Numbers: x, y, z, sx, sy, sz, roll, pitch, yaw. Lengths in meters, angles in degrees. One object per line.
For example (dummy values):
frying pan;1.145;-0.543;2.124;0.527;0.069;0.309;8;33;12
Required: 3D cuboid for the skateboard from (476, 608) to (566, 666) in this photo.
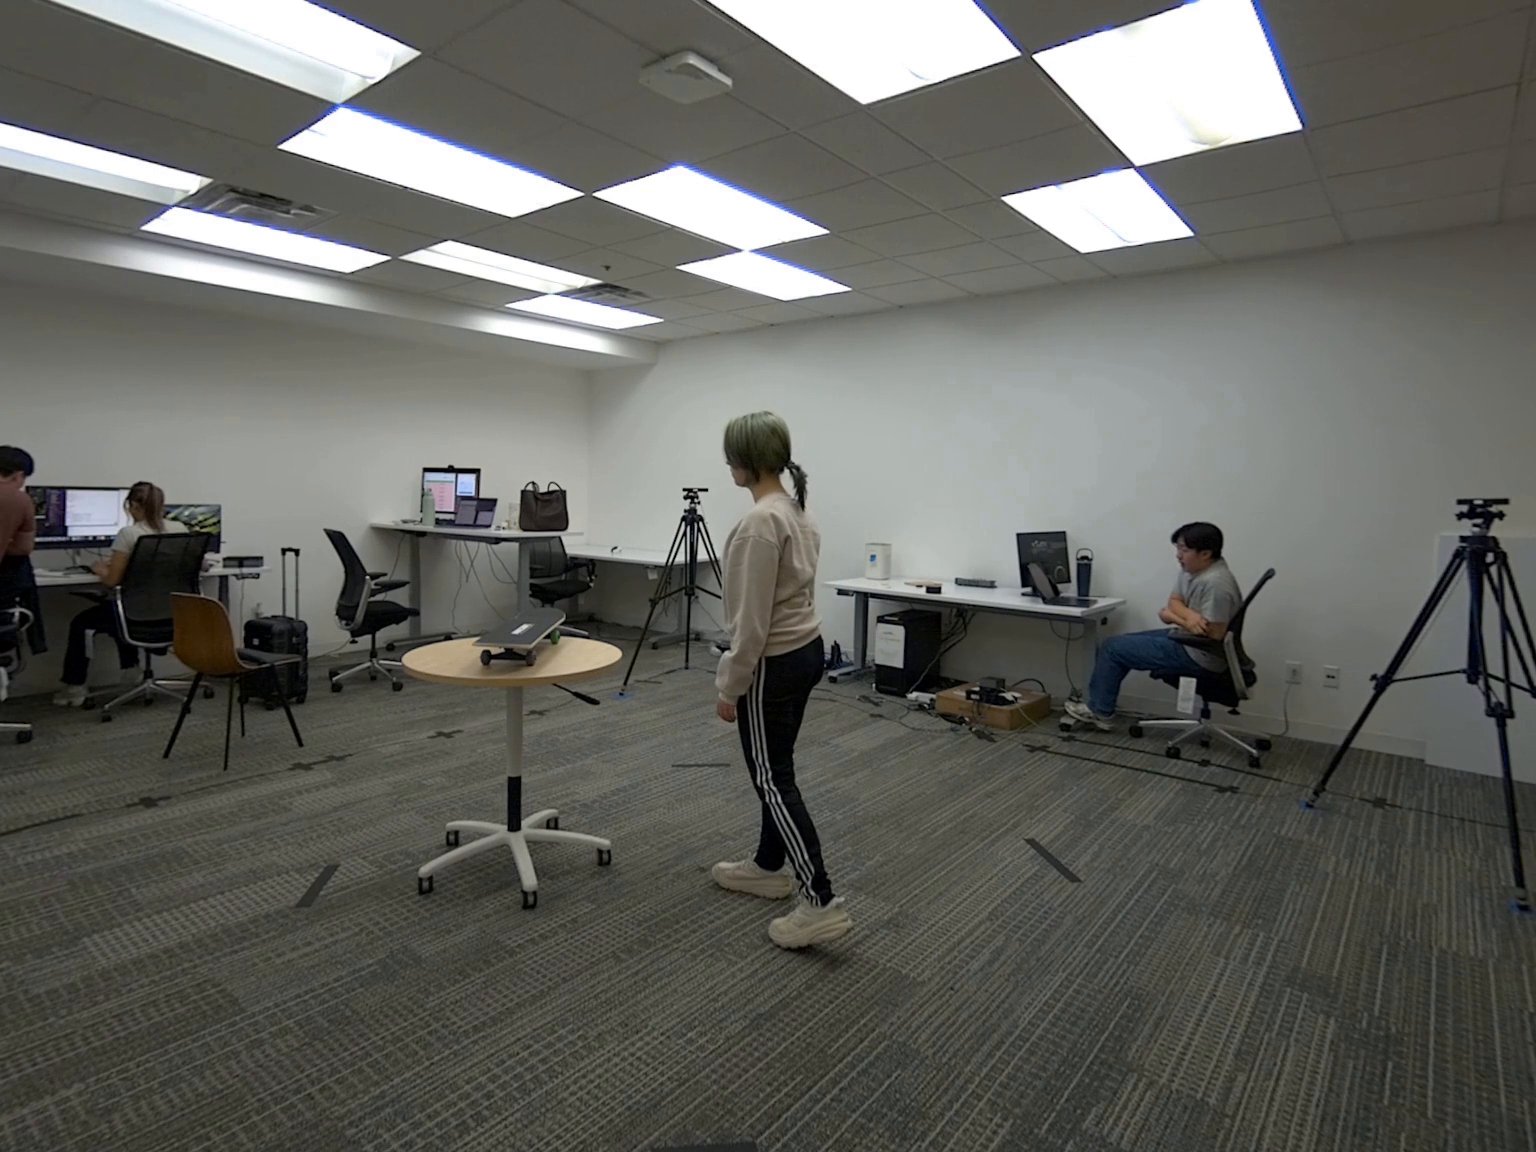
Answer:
skateboard;-0.904;0.232;3.070;0.193;0.110;0.791;1;6;-4
